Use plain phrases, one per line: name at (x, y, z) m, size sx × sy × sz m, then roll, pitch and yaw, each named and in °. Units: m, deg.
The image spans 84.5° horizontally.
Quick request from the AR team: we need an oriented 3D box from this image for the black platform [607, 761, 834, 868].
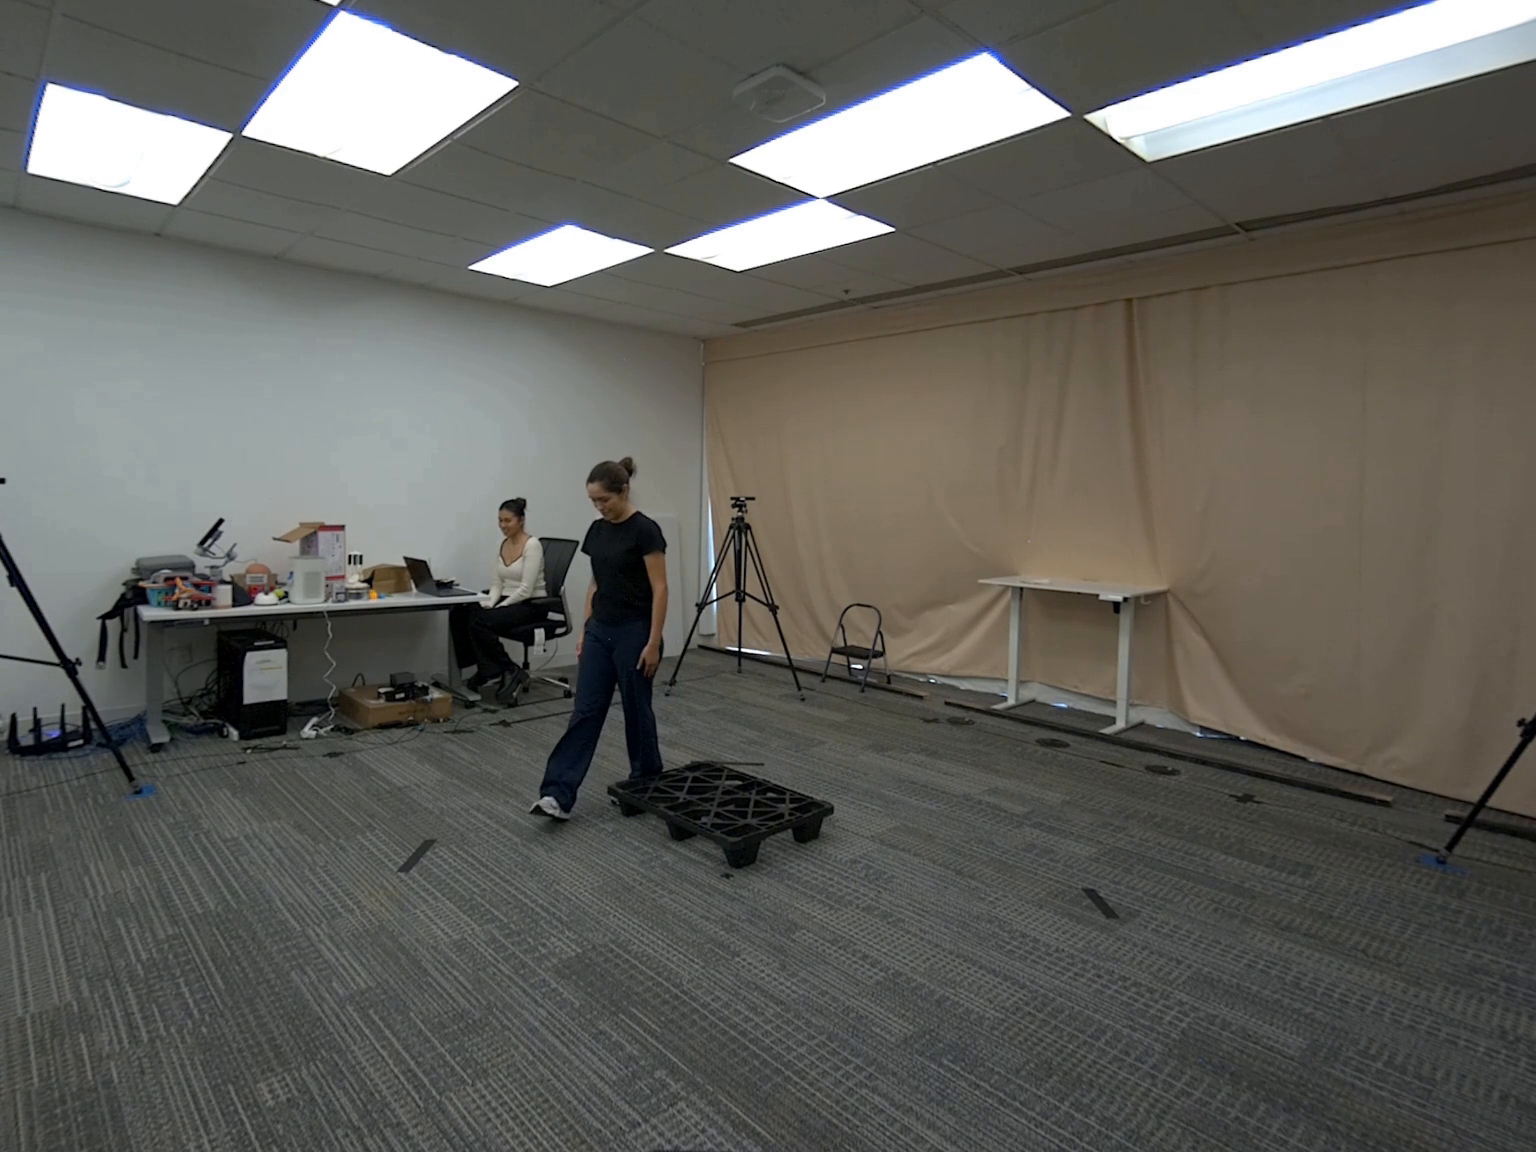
black platform at (-0.217, 1.000, 3.559) m, size 0.591 × 0.143 × 0.826 m, roll -4°, pitch 7°, yaw -44°
